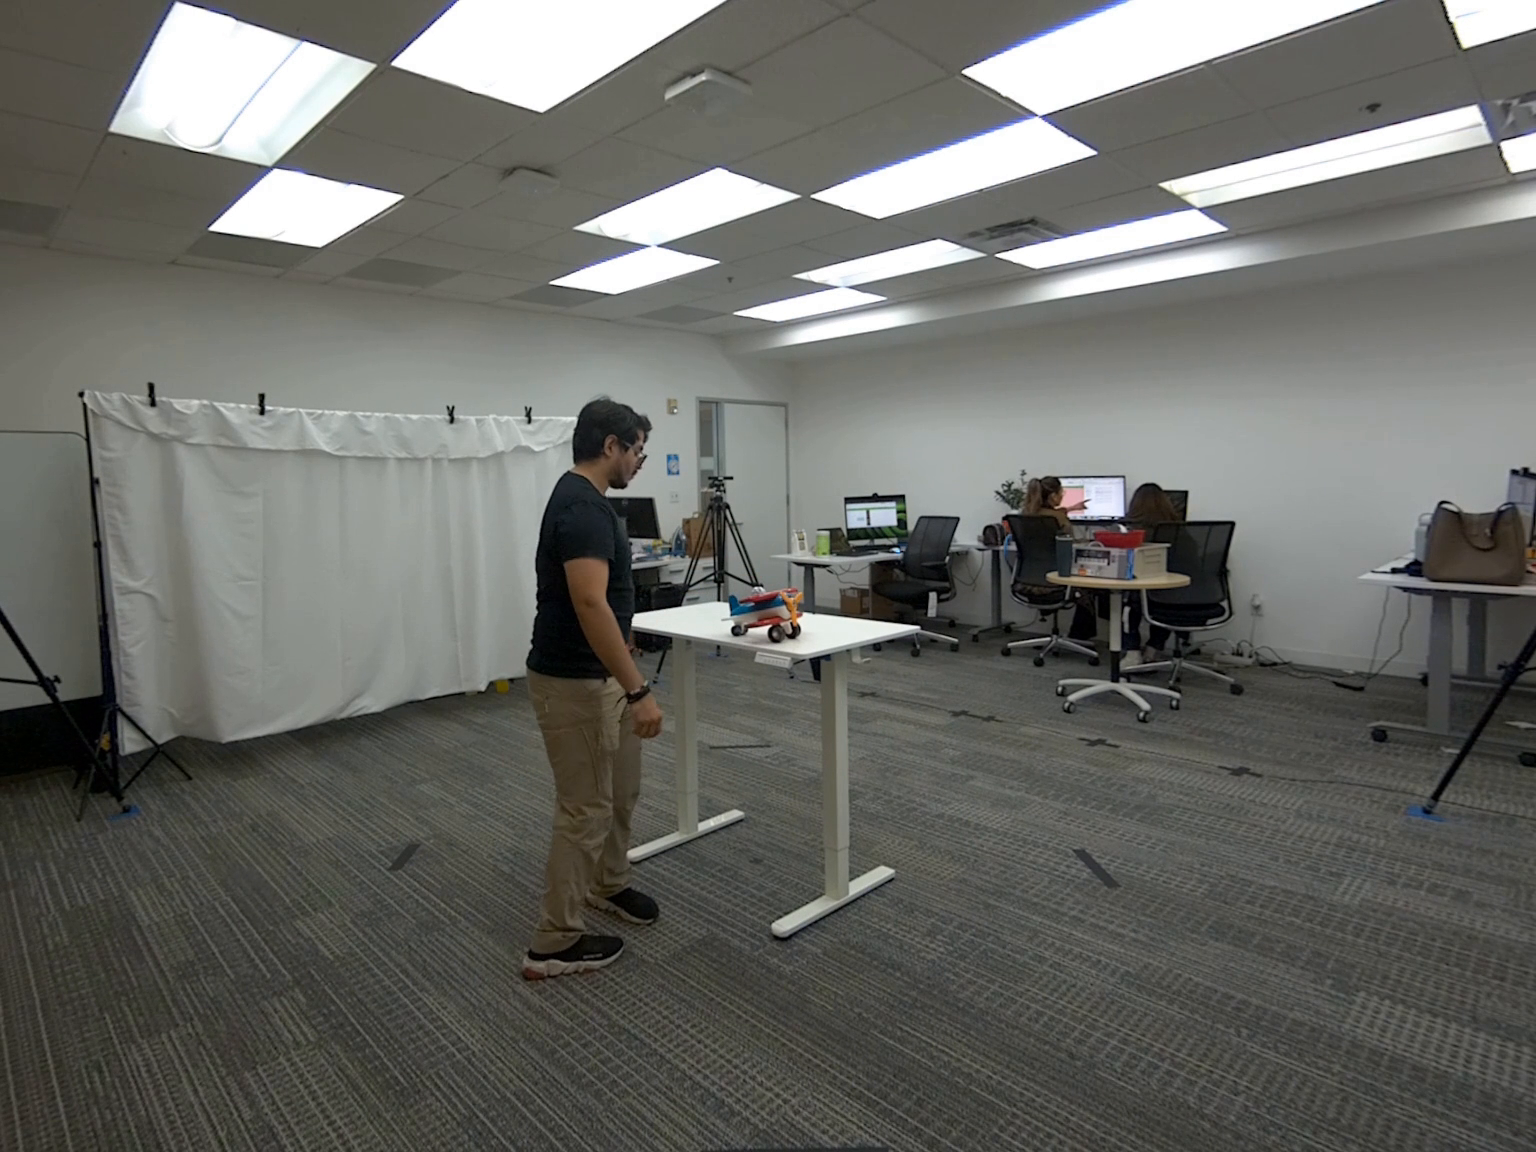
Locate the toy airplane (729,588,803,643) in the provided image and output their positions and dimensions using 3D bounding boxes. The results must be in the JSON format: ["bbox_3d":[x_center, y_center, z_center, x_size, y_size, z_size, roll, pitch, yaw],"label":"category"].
[{"bbox_3d":[-0.026,0.120,2.686,0.262,0.156,0.249,0,4,10],"label":"toy airplane"}]
